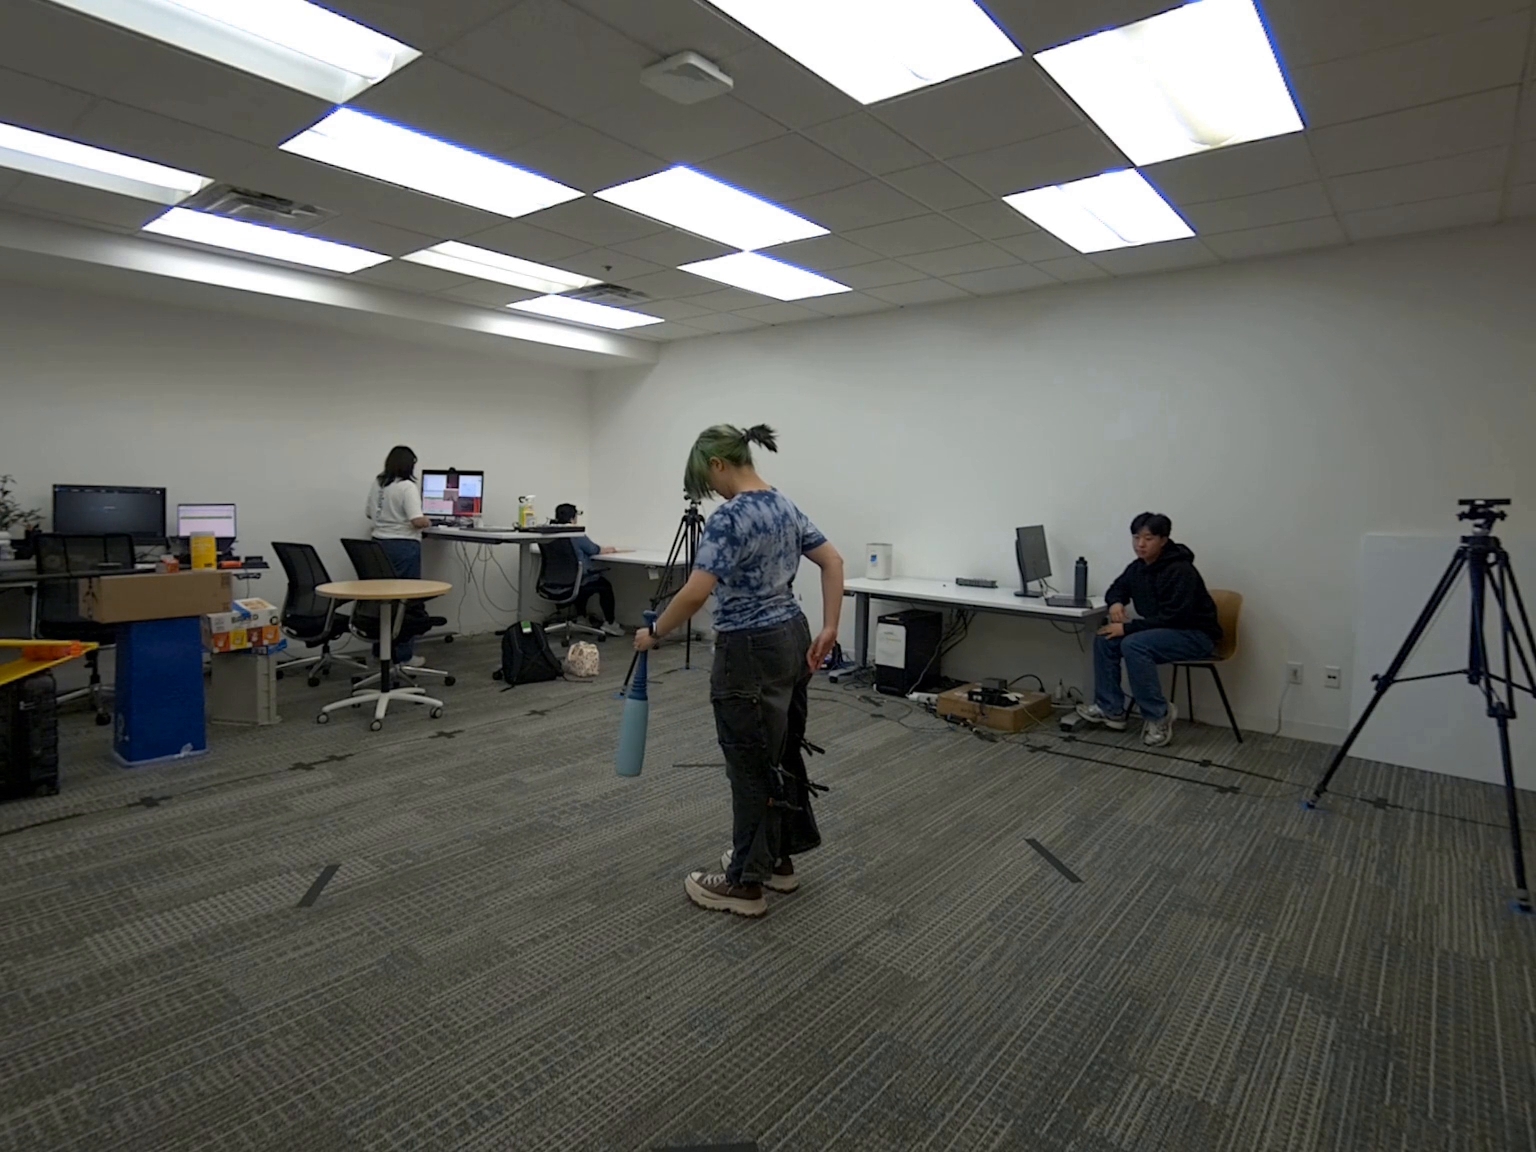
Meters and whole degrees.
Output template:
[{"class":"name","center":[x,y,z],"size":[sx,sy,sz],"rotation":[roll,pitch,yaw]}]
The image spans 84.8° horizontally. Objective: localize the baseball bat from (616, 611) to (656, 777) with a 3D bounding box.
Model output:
[{"class":"baseball bat","center":[-0.432,0.390,2.827],"size":[0.089,0.546,0.088],"rotation":[7,-7,-1]}]
